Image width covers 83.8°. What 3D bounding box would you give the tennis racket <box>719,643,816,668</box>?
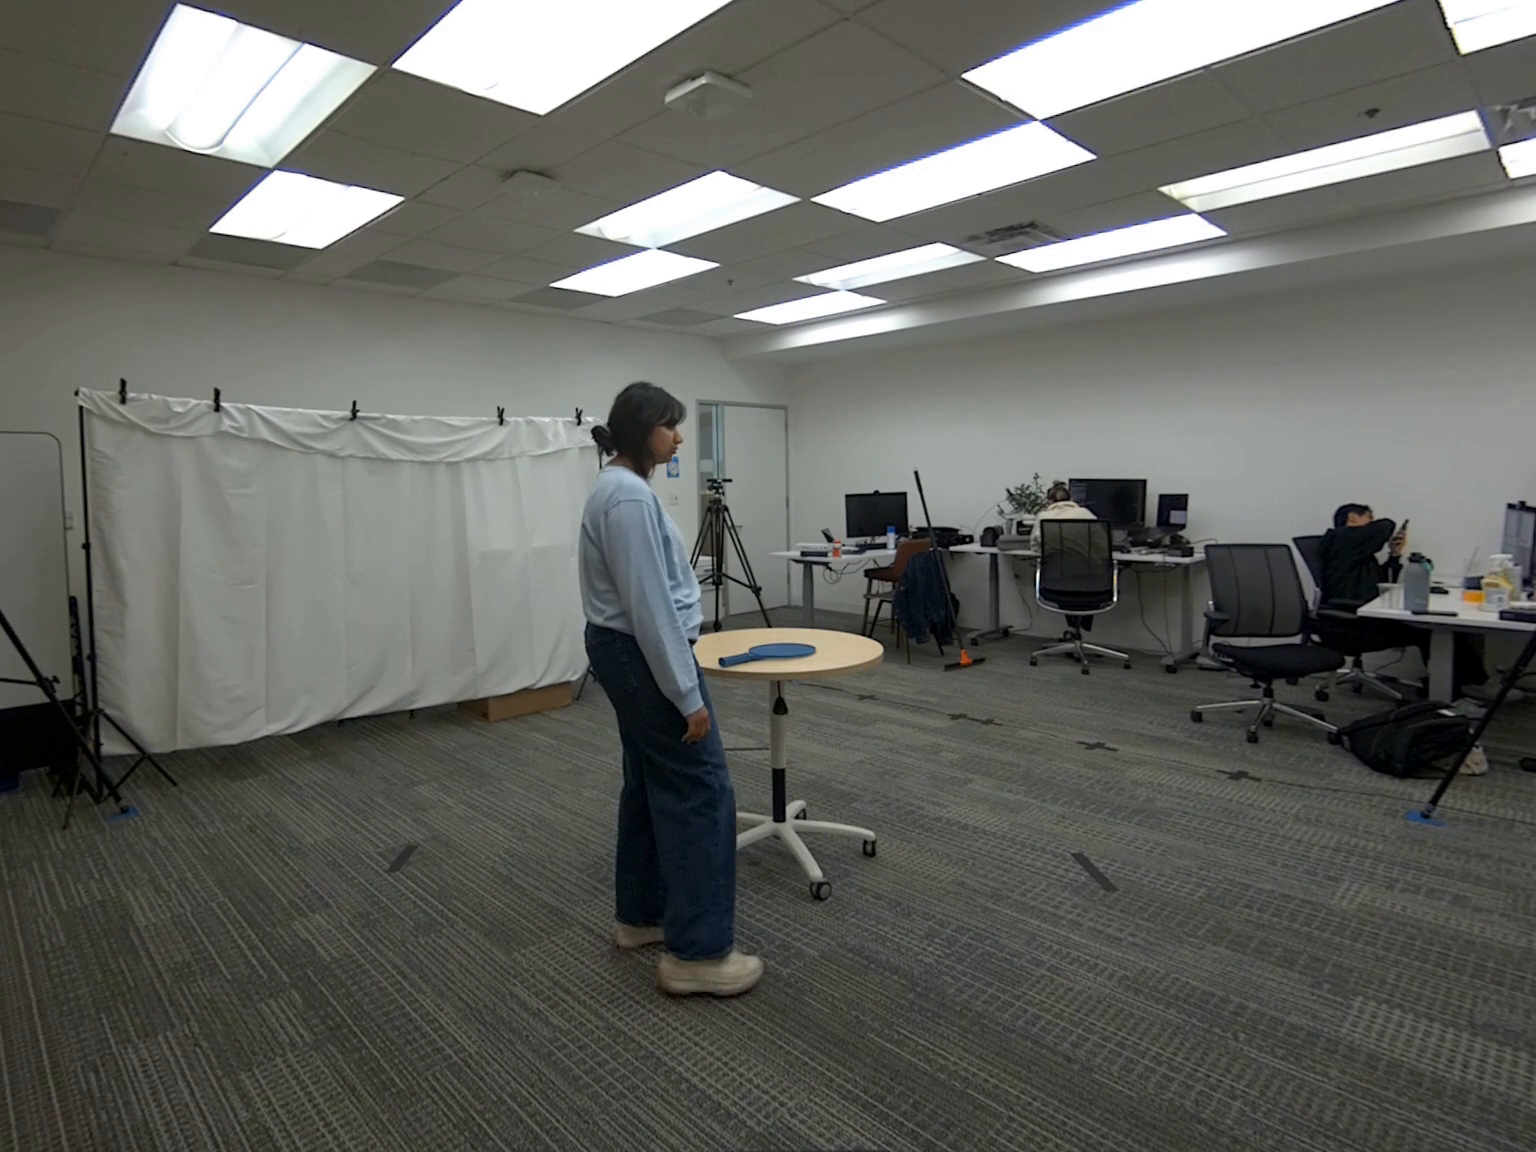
[{"bbox_3d":[-0.001,0.270,2.960,0.220,0.031,0.421,3,7,45],"label":"tennis racket"}]
